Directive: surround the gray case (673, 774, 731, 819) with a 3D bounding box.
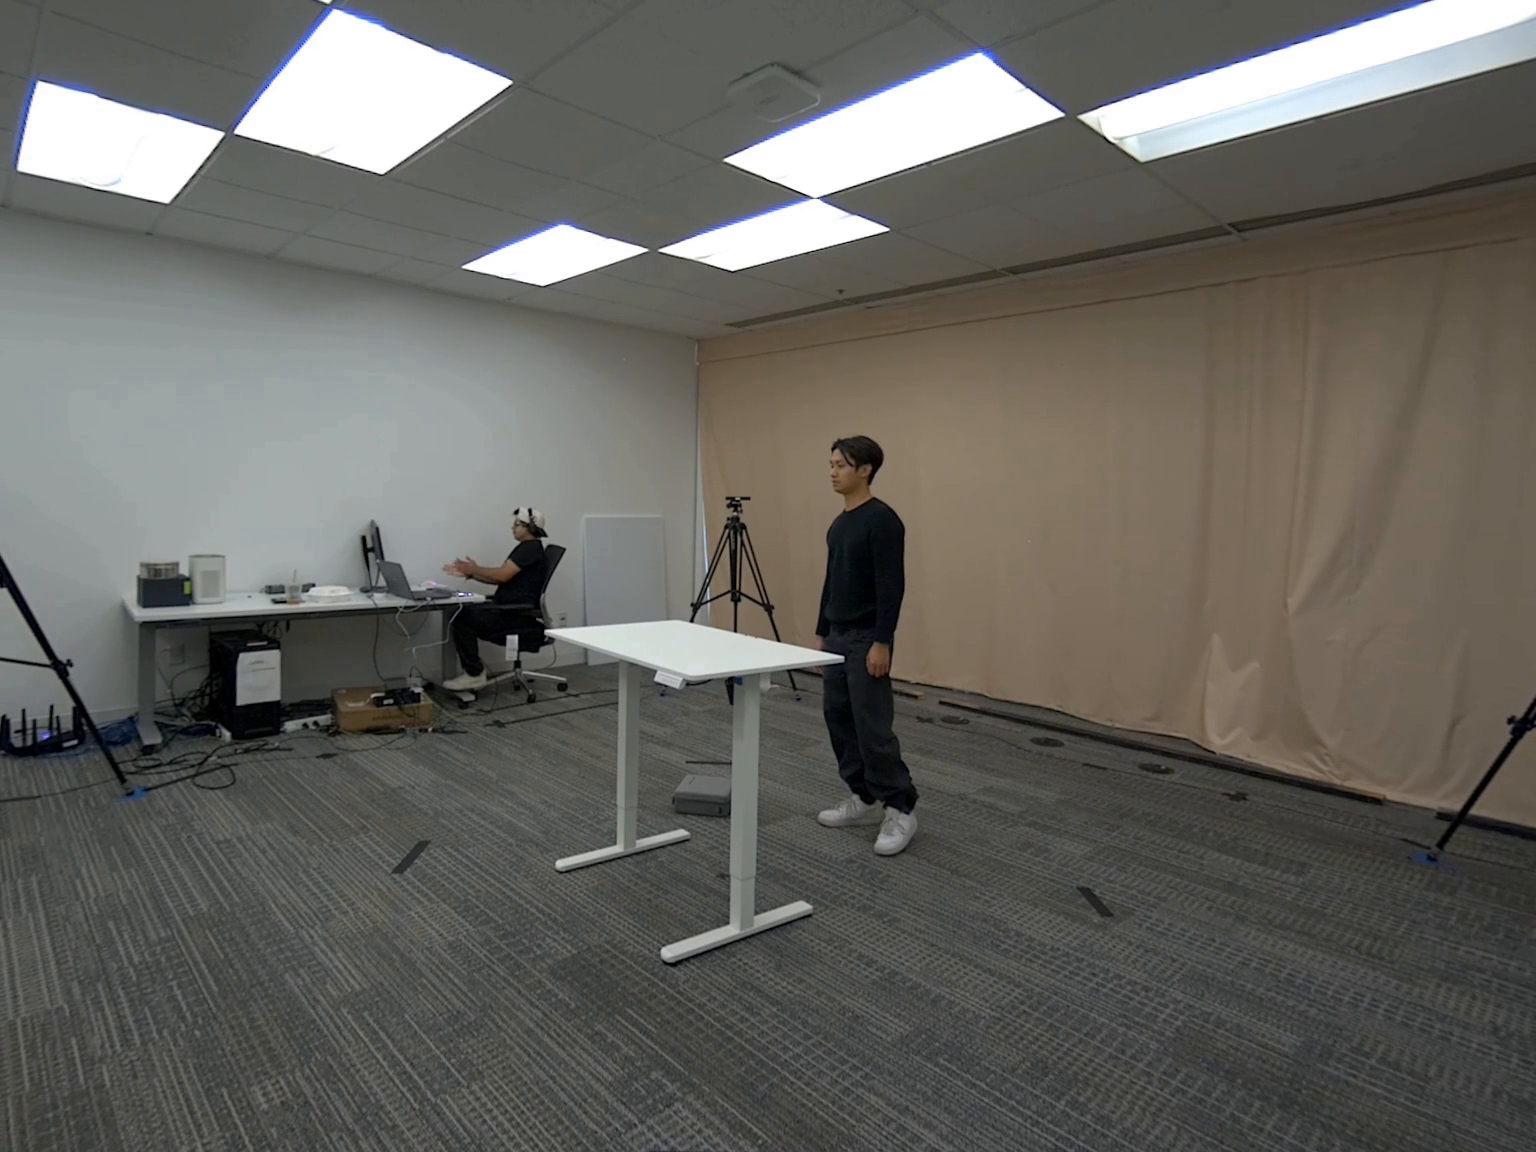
[{"bbox_3d":[-0.282,0.979,3.804,0.263,0.104,0.255,2,4,10],"label":"gray case"}]
